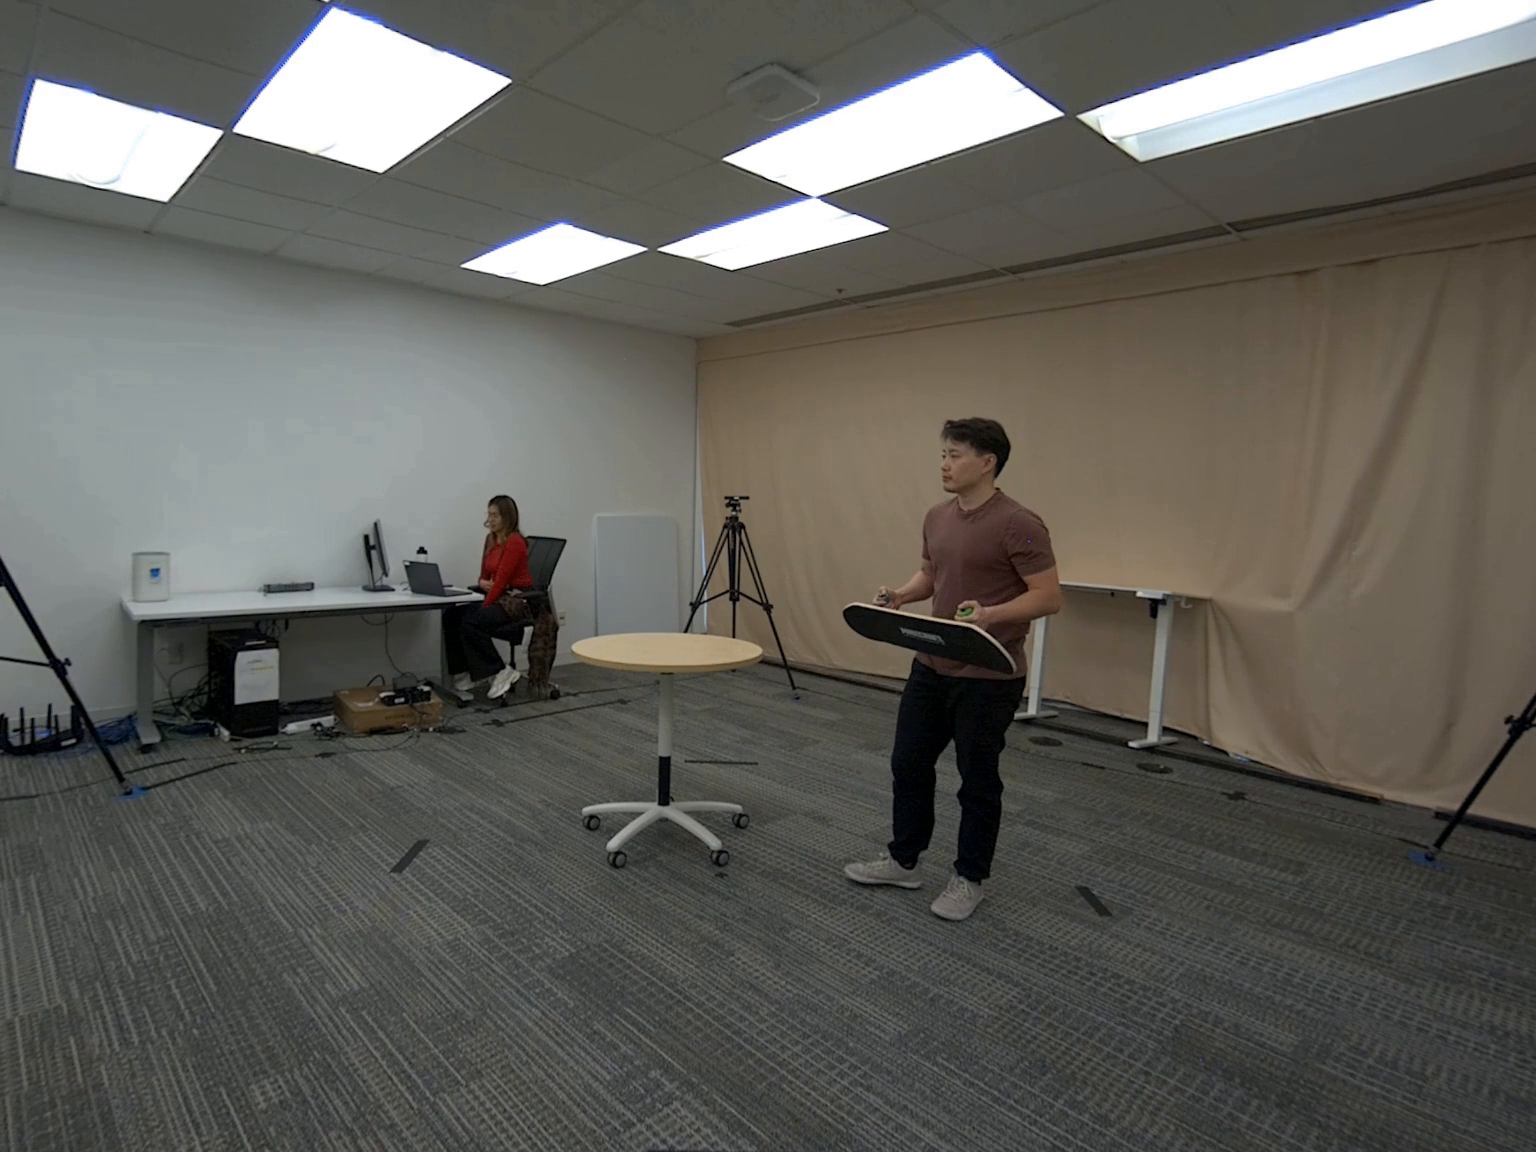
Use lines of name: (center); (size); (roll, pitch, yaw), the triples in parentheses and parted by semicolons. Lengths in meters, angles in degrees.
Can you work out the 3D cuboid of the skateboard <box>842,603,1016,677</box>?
skateboard: (0.509, 0.177, 2.771); (0.110, 0.189, 0.803); (-44, 23, -18)
